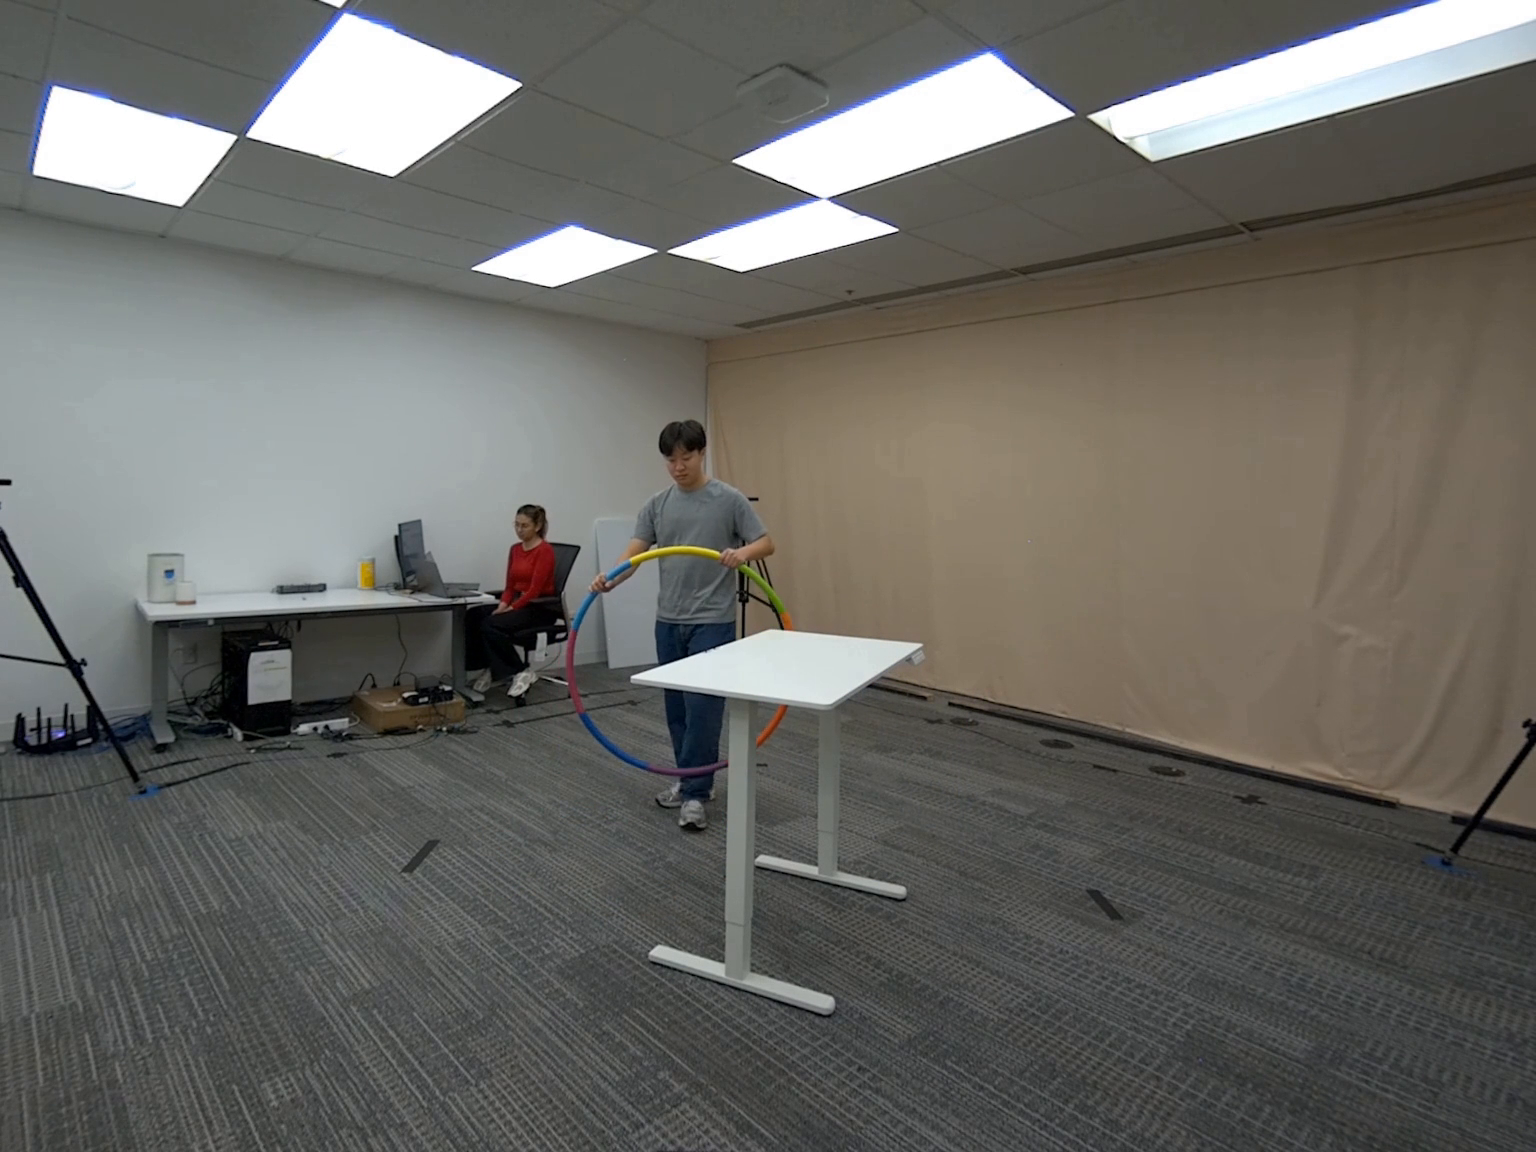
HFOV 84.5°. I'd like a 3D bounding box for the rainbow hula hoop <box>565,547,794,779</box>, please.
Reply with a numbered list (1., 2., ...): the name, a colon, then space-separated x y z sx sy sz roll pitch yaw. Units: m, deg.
1. rainbow hula hoop: -0.381 0.369 3.534 0.976 0.974 0.036 1 6 -3
